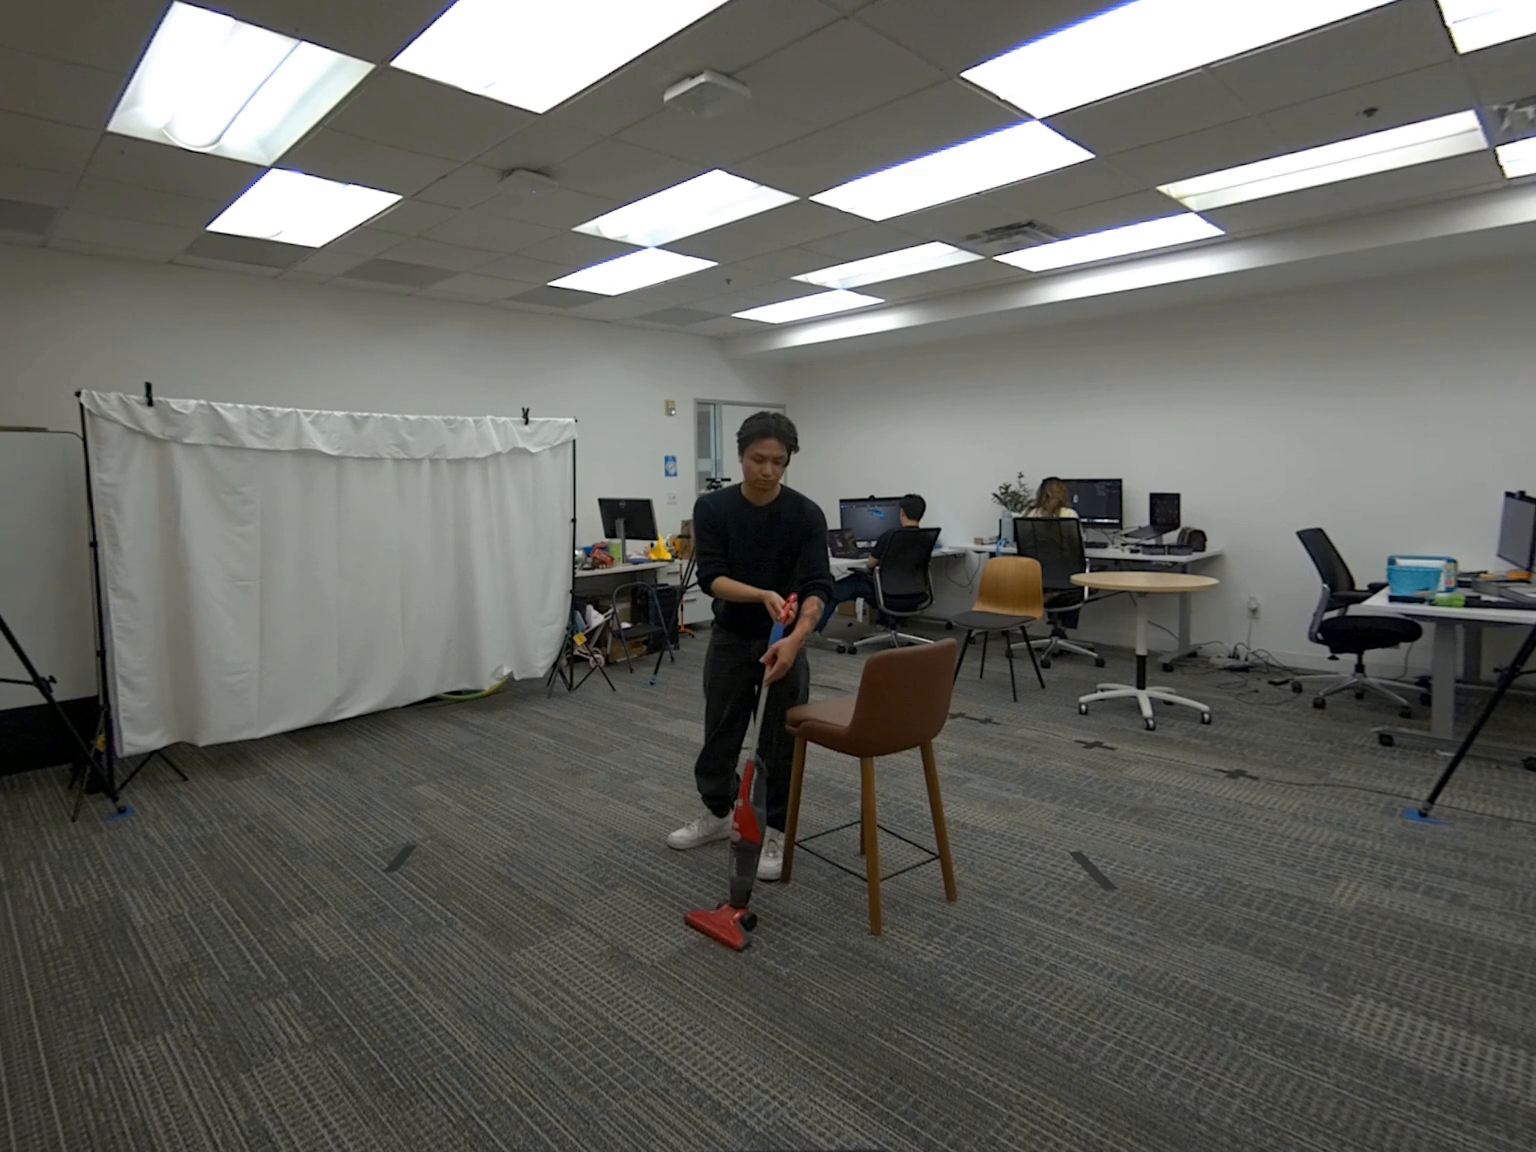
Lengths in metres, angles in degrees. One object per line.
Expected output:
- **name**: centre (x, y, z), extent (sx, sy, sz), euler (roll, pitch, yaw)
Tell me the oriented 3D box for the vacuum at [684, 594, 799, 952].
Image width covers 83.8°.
- **vacuum**: centre (-0.018, 0.592, 2.706), extent (0.261, 1.053, 0.139), euler (6, -8, 44)
